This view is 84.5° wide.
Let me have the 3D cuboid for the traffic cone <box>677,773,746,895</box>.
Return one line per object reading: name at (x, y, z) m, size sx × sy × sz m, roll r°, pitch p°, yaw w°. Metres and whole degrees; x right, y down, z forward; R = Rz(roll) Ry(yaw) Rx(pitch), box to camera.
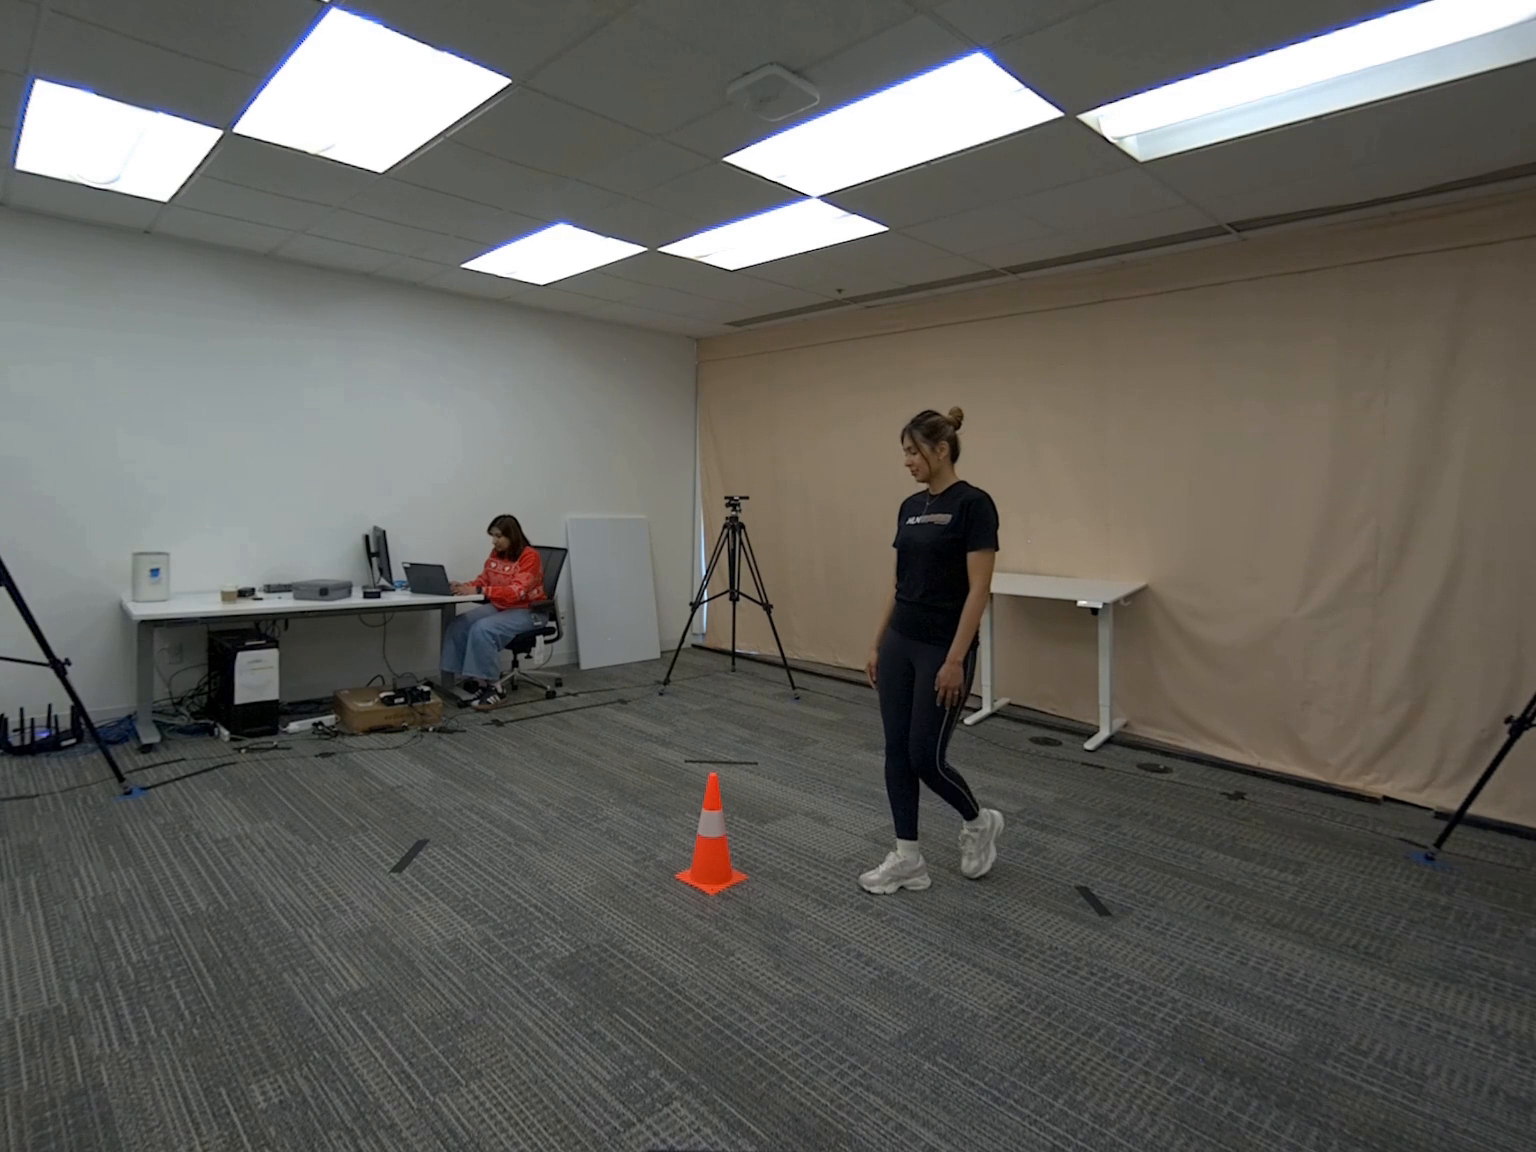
traffic cone at (-0.208, 0.918, 3.085) m, size 0.210 × 0.383 × 0.199 m, roll 3°, pitch 3°, yaw 39°
